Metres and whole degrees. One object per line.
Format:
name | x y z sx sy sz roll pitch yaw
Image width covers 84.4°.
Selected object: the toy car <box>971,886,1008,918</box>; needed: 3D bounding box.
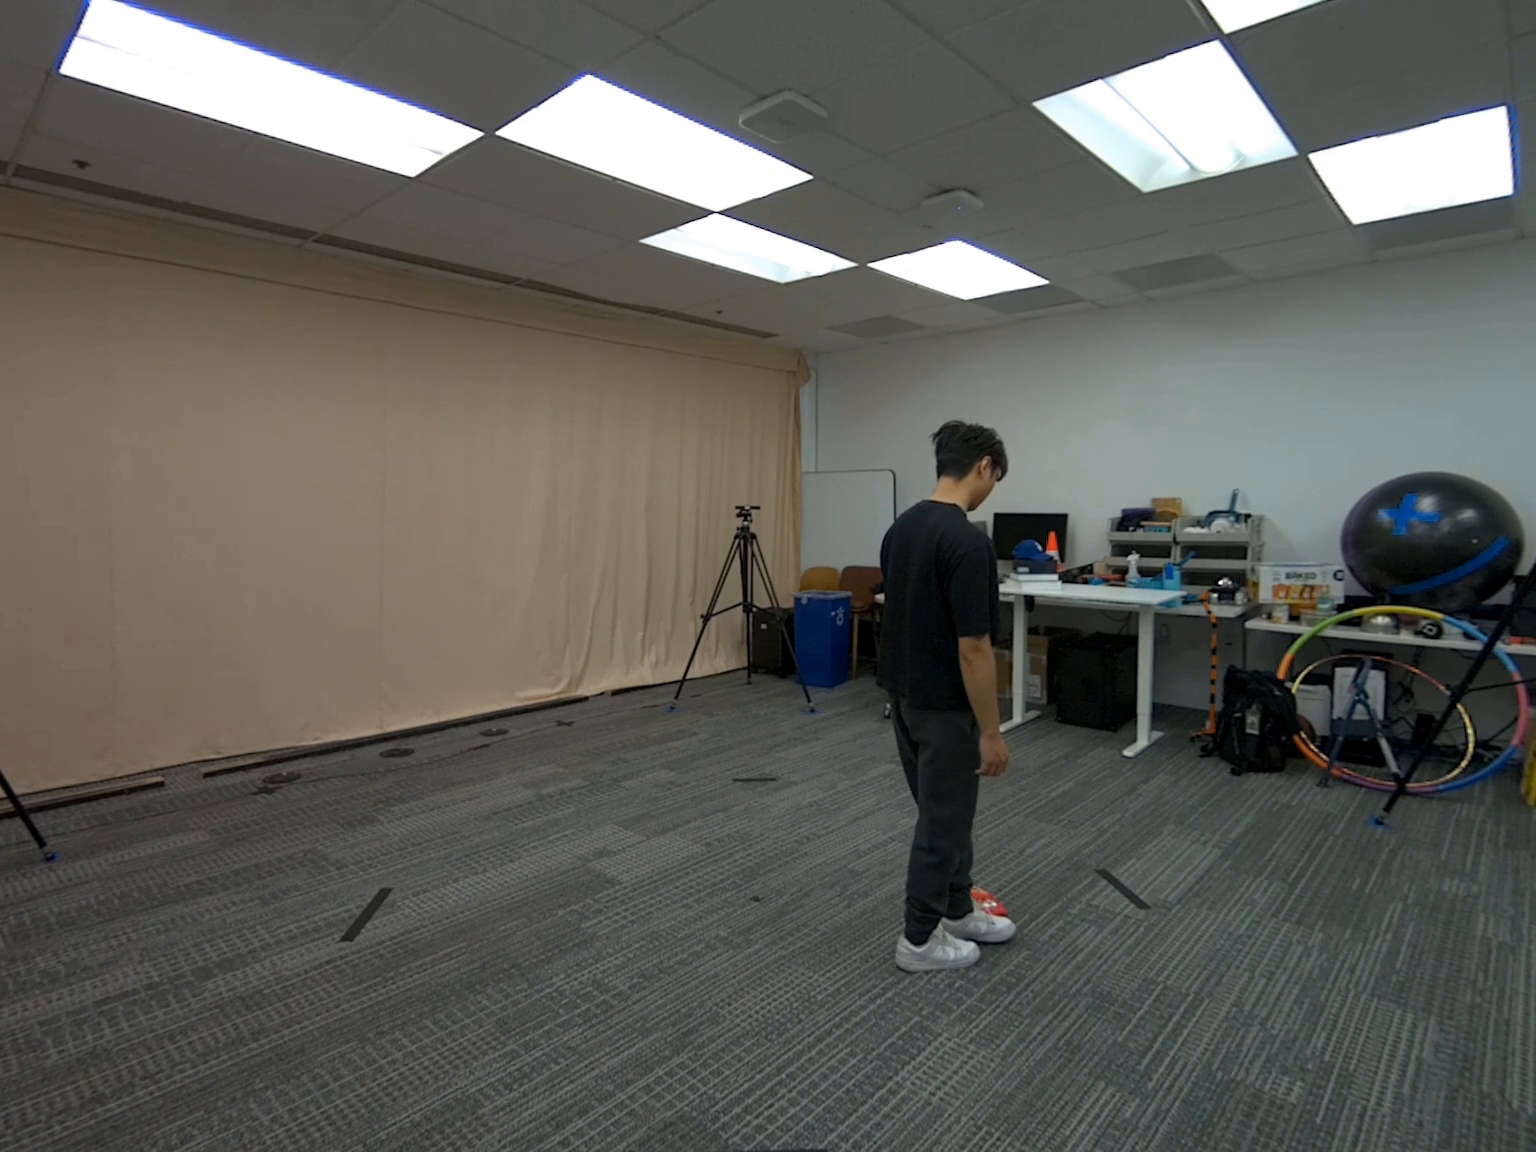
toy car | 0.724 1.121 2.874 0.128 0.084 0.257 -1 -8 -16
